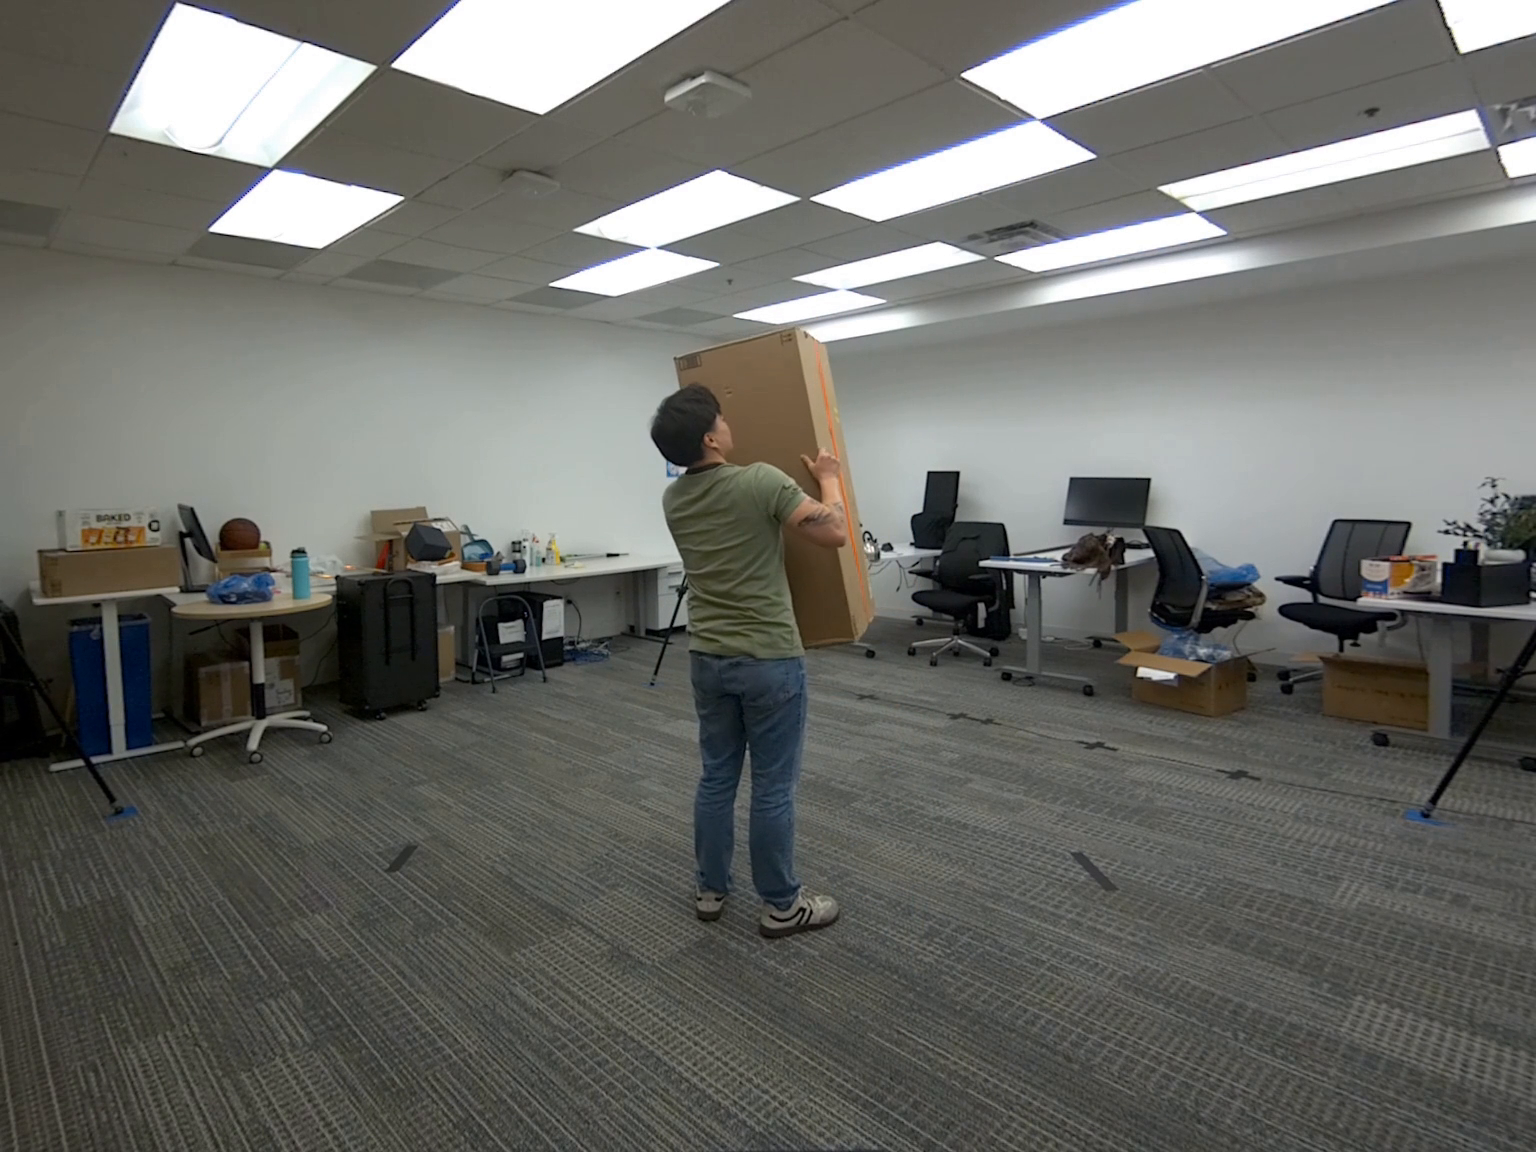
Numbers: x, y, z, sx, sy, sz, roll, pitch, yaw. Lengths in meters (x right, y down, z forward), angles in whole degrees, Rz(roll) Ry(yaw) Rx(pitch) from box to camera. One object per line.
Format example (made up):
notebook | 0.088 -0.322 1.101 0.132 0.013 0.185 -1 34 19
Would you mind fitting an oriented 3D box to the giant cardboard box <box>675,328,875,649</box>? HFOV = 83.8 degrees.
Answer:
giant cardboard box | 0.056 -0.300 3.037 0.431 1.023 0.572 -10 3 15
